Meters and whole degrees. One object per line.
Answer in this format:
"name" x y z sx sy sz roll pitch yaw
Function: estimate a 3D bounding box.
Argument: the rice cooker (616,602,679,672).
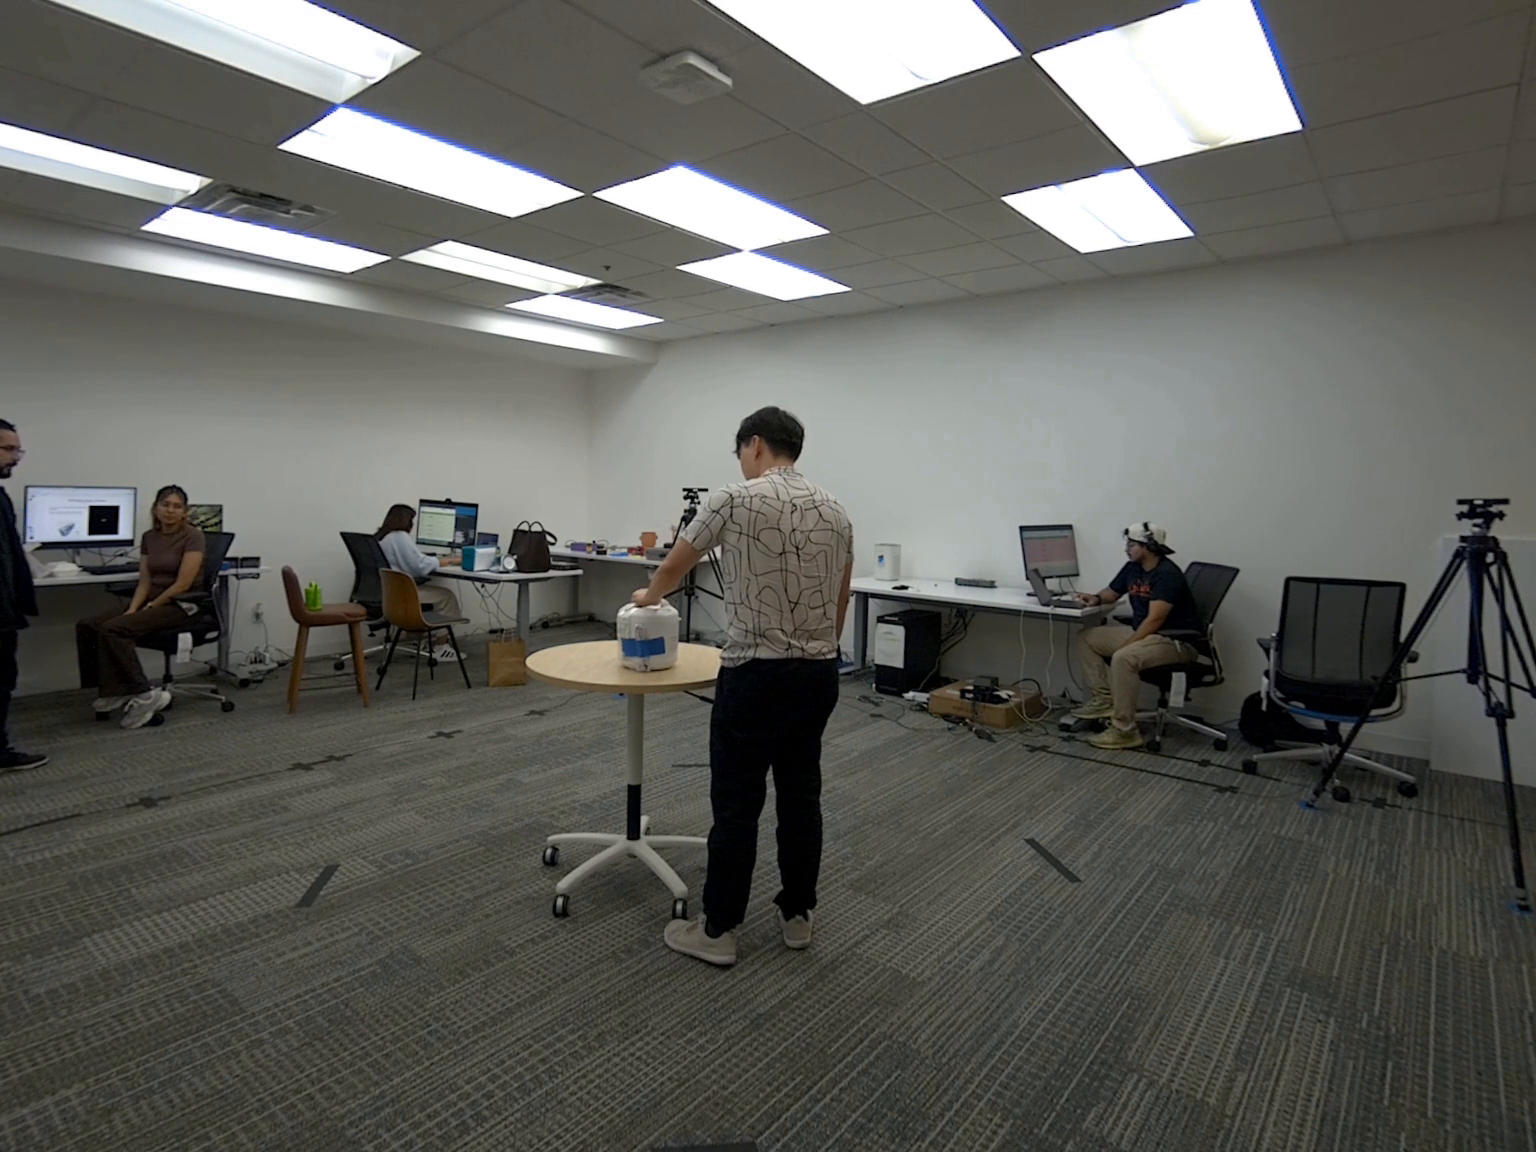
"rice cooker" -0.419 0.191 2.898 0.214 0.232 0.225 -2 7 -40
